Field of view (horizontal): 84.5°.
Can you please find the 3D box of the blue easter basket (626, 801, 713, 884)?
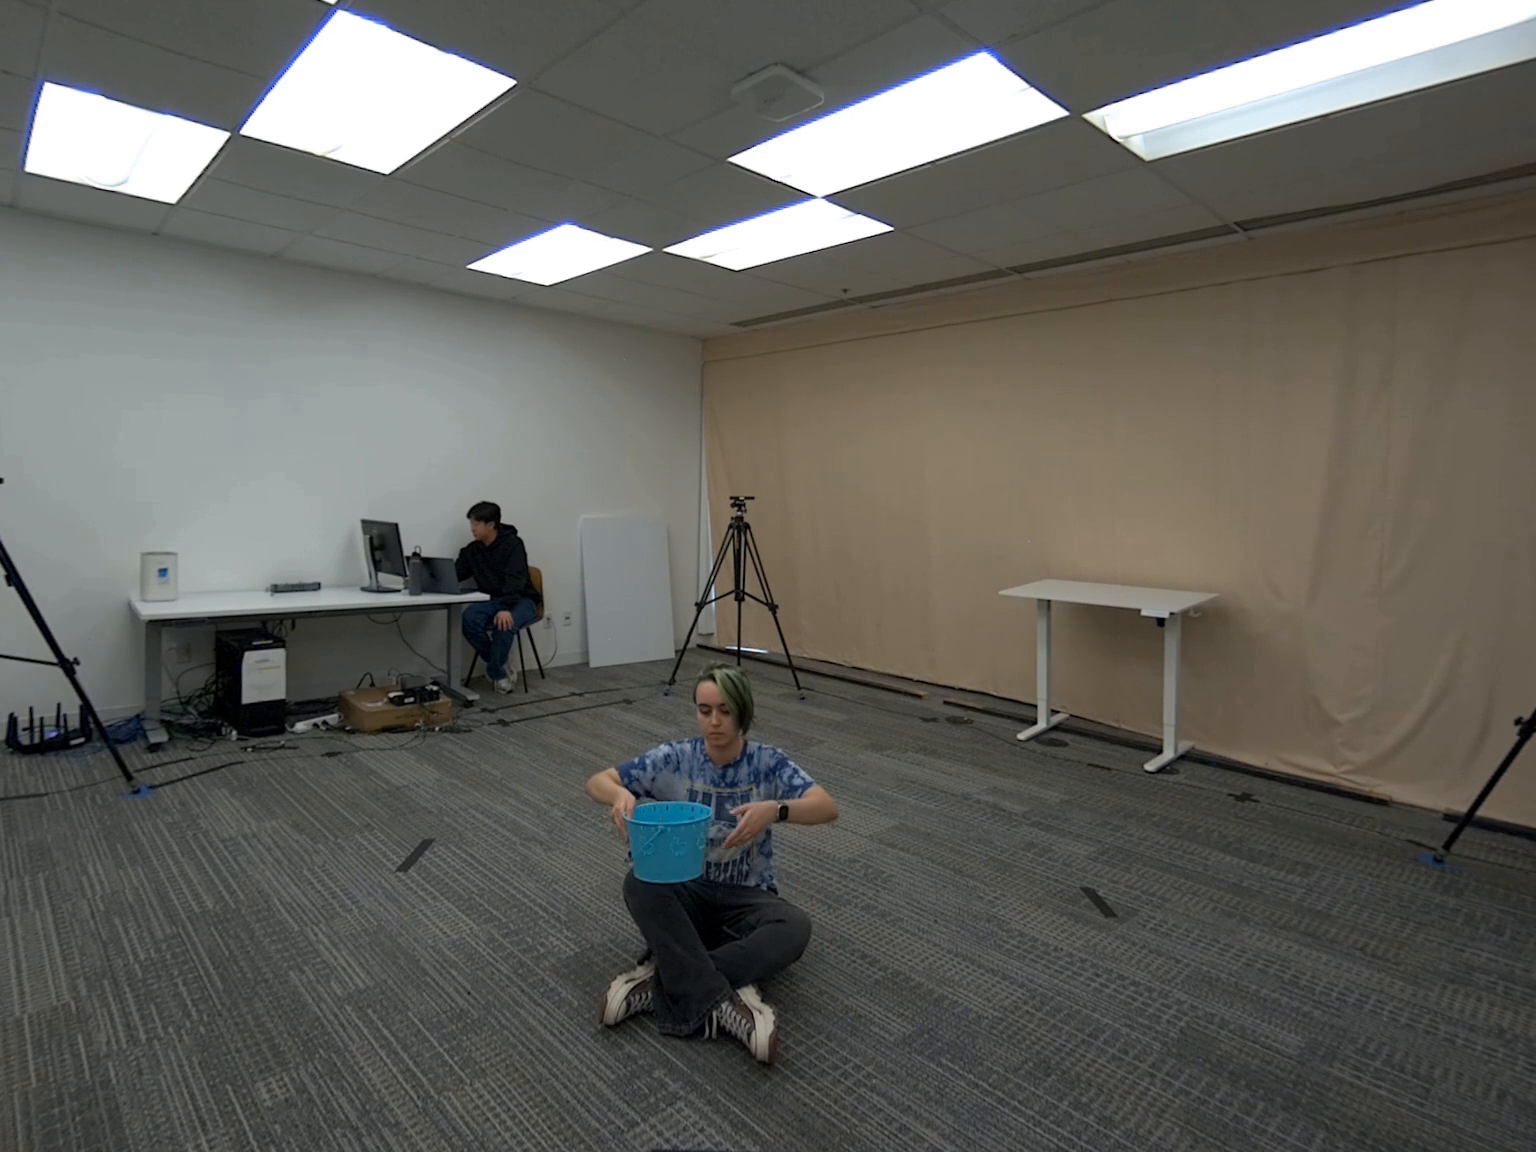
[{"bbox_3d":[-0.289,0.691,2.202,0.243,0.156,0.243,0,0,-1],"label":"blue easter basket"}]
